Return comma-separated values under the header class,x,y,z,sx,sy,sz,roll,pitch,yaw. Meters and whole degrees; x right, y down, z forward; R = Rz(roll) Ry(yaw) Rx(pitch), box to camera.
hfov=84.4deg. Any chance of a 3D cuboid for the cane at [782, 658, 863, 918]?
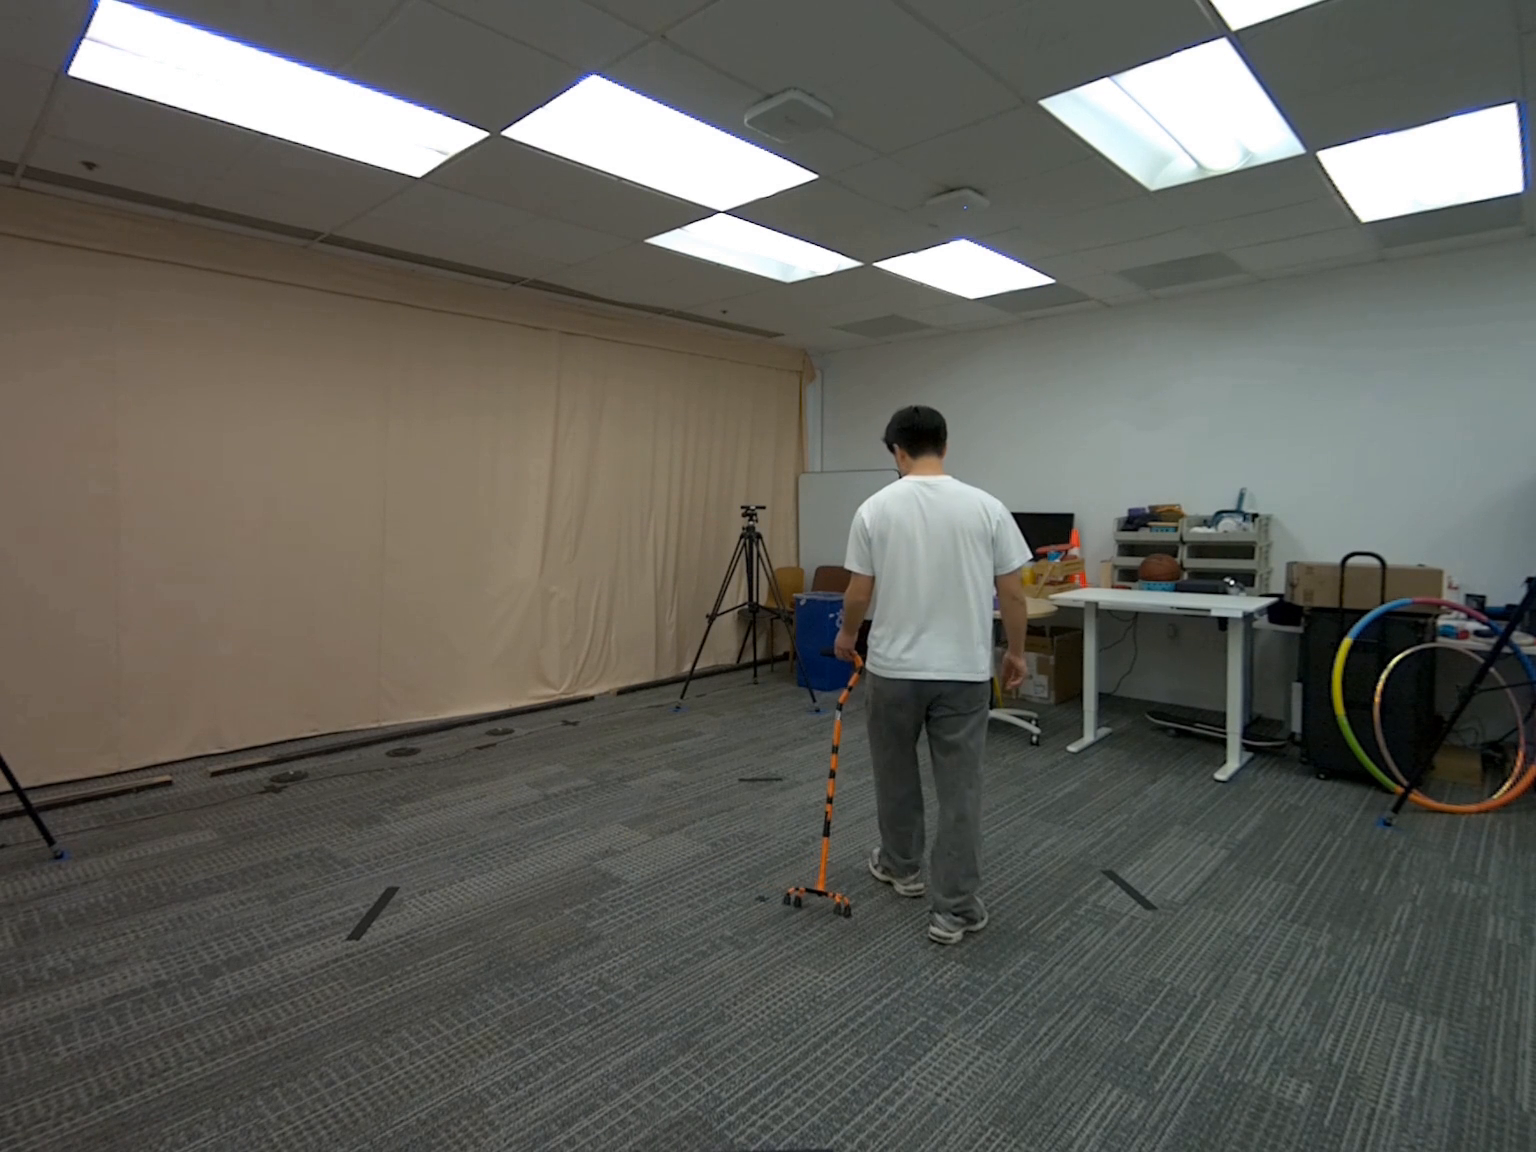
class,x,y,z,sx,sy,sz,roll,pitch,yaw
cane,0.233,0.703,2.991,0.211,0.915,0.147,-1,-21,24
